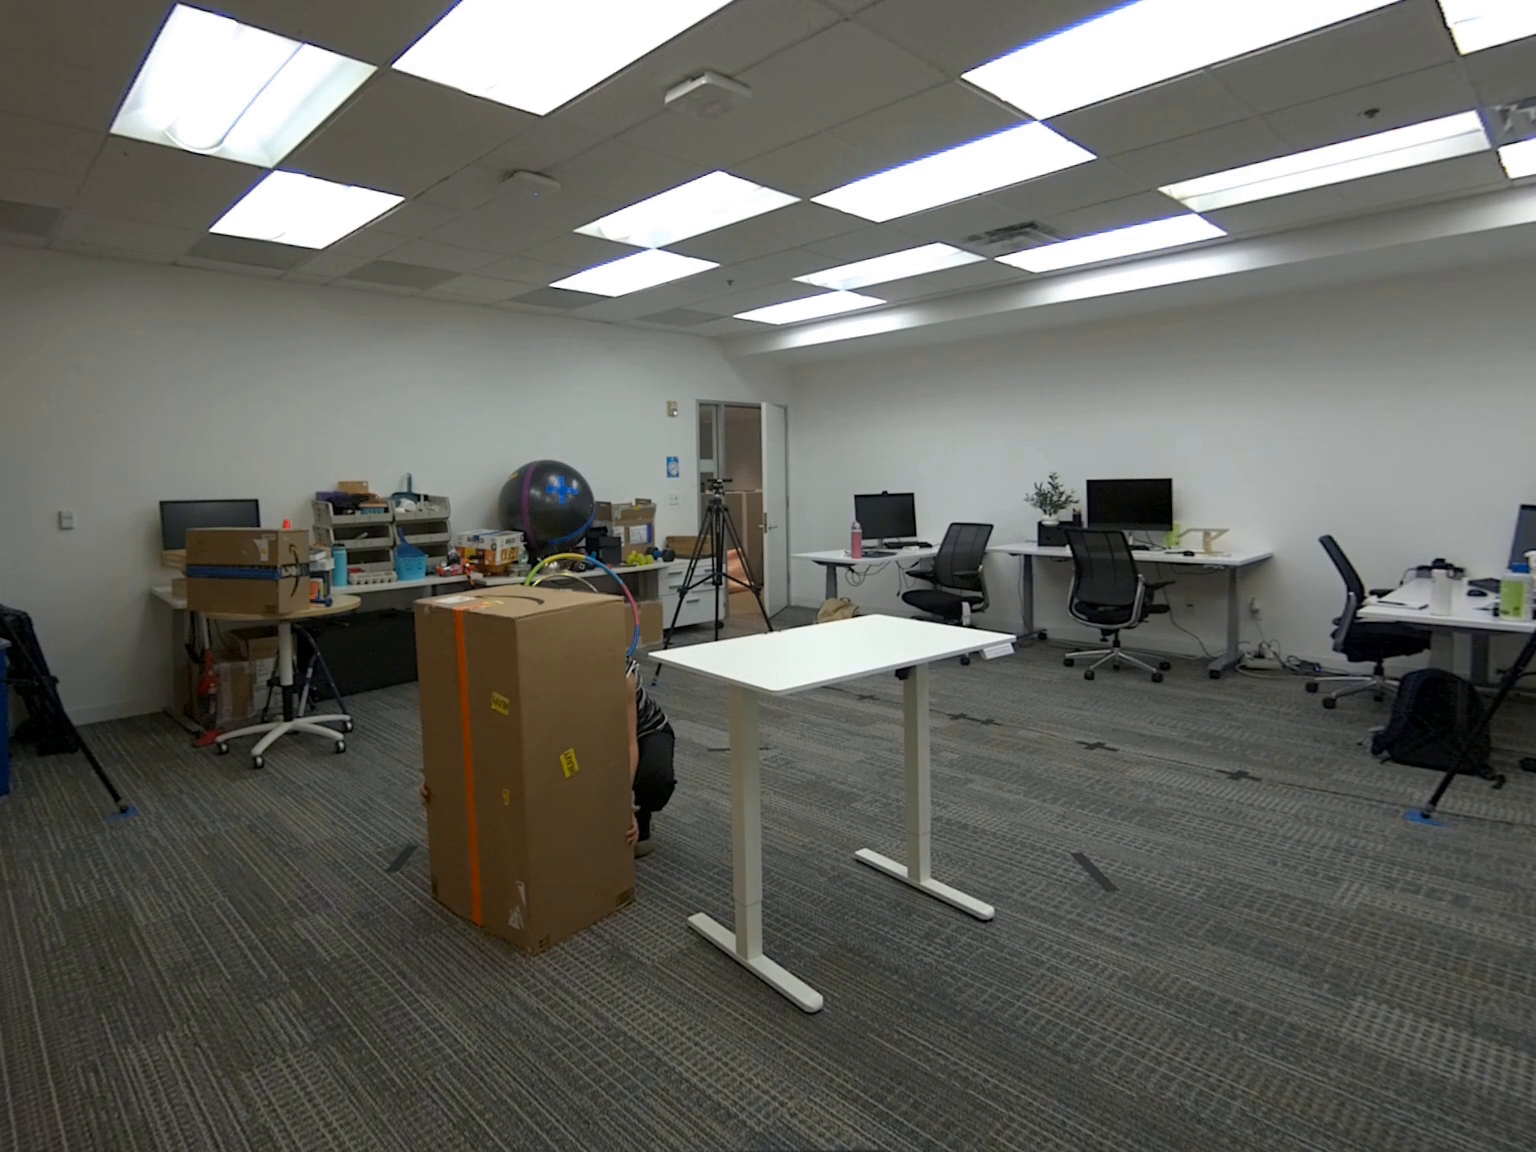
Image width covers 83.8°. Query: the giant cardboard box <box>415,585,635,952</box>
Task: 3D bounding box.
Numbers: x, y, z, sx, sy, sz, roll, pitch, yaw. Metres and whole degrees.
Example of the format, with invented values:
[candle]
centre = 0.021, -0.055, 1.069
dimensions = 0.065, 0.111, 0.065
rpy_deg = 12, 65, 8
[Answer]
[giant cardboard box]
centre = -0.804, 0.578, 2.826
dimensions = 0.595, 1.021, 0.415
rpy_deg = 3, 7, 40
